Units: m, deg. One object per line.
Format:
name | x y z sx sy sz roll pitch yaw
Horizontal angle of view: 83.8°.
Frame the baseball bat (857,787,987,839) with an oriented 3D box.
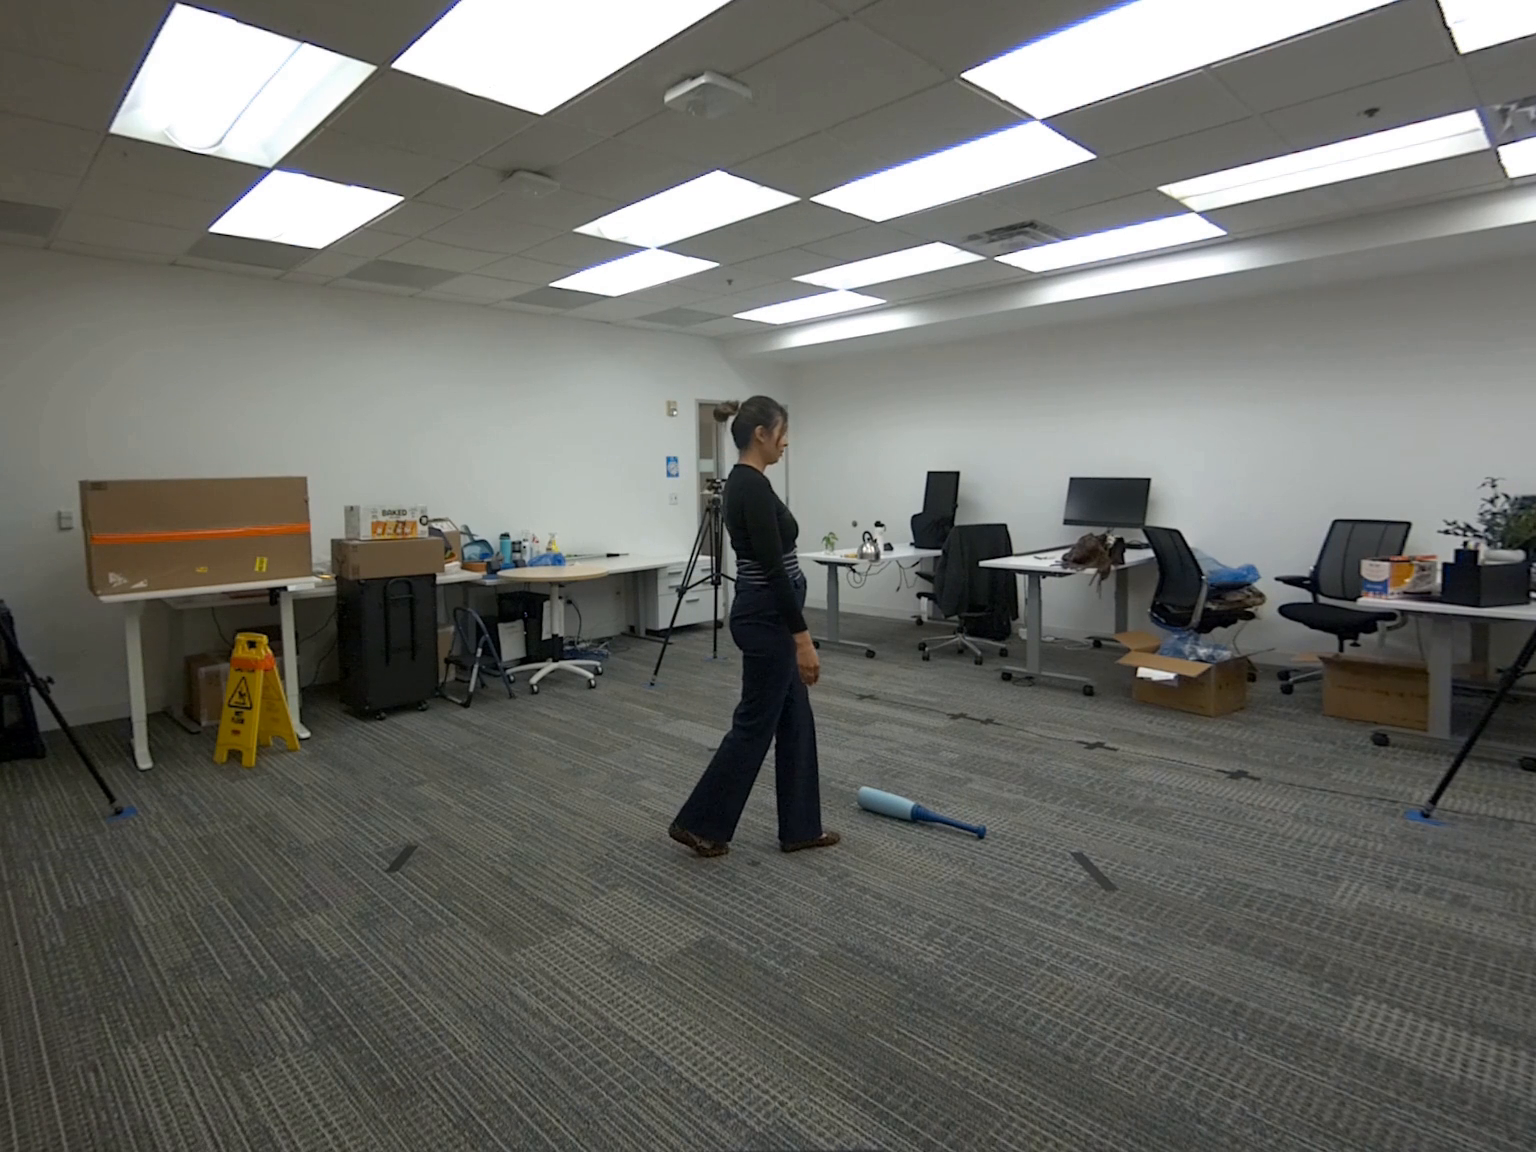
baseball bat | 0.617 0.958 3.450 0.560 0.088 0.087 7 8 37
